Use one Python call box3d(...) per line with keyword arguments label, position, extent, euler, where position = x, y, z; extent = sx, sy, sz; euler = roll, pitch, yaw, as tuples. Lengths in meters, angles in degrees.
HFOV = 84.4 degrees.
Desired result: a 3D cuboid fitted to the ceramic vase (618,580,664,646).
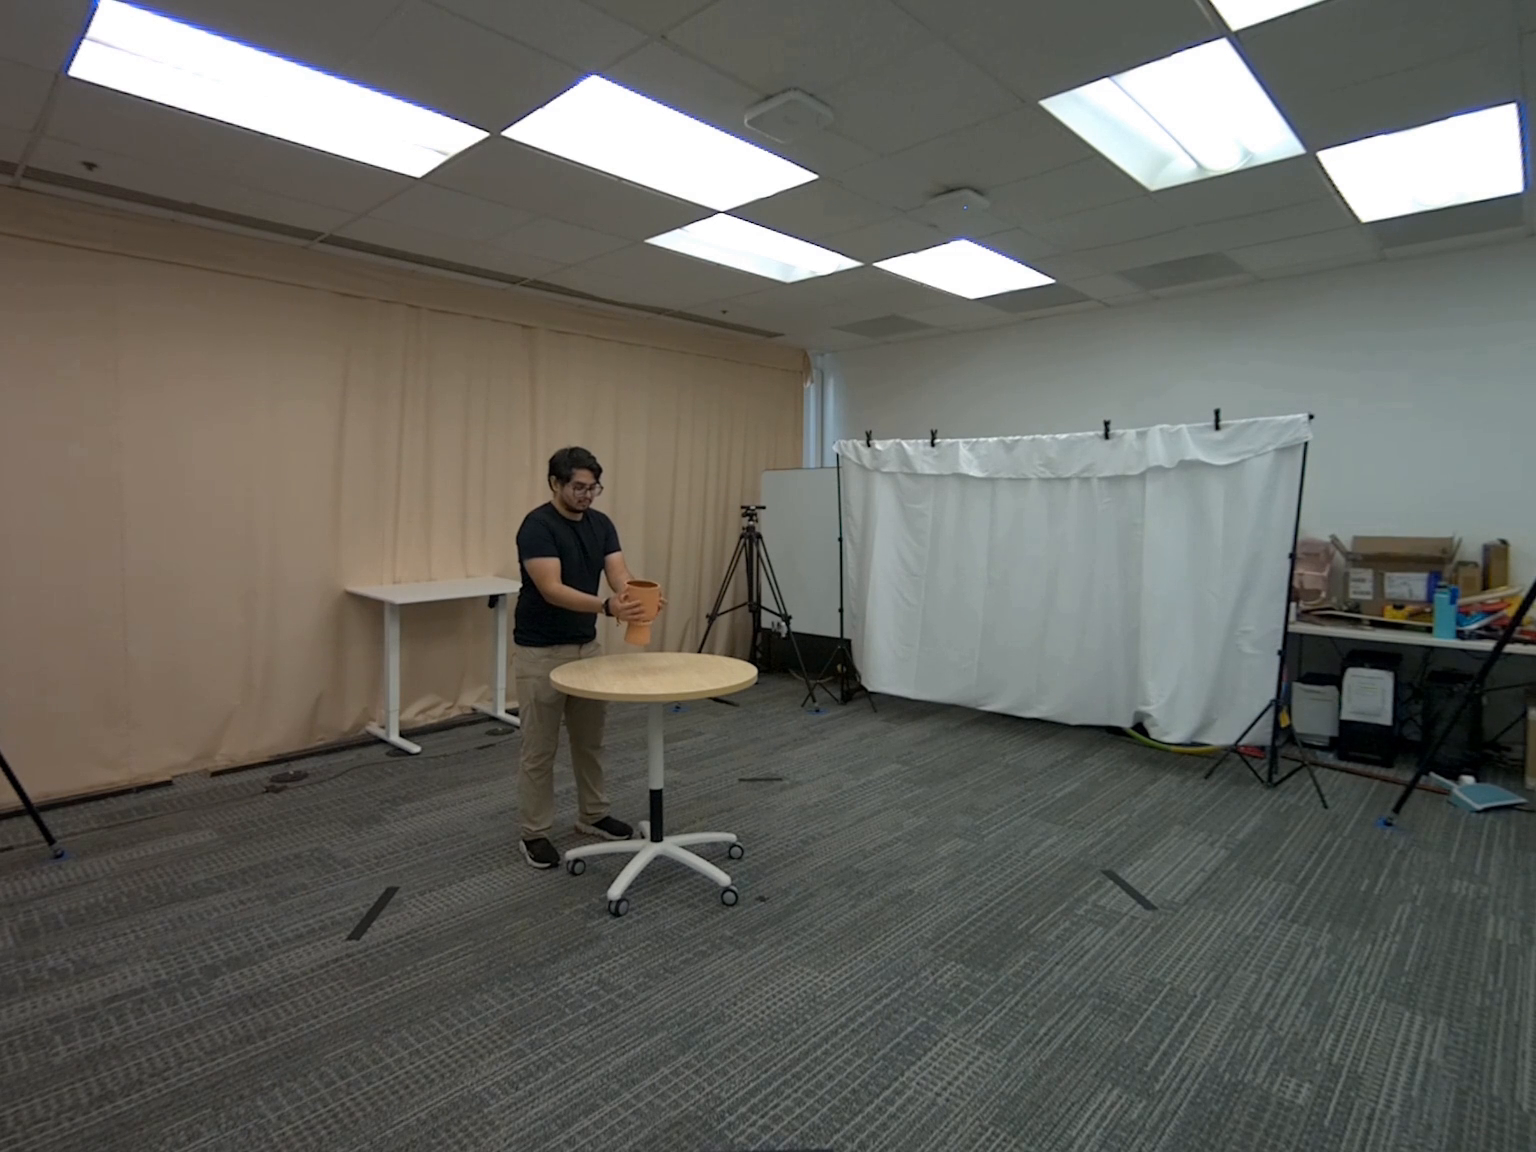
box3d(label="ceramic vase", position=(-0.472, 0.138, 3.135), extent=(0.157, 0.218, 0.137), euler=(0, 10, -13))
